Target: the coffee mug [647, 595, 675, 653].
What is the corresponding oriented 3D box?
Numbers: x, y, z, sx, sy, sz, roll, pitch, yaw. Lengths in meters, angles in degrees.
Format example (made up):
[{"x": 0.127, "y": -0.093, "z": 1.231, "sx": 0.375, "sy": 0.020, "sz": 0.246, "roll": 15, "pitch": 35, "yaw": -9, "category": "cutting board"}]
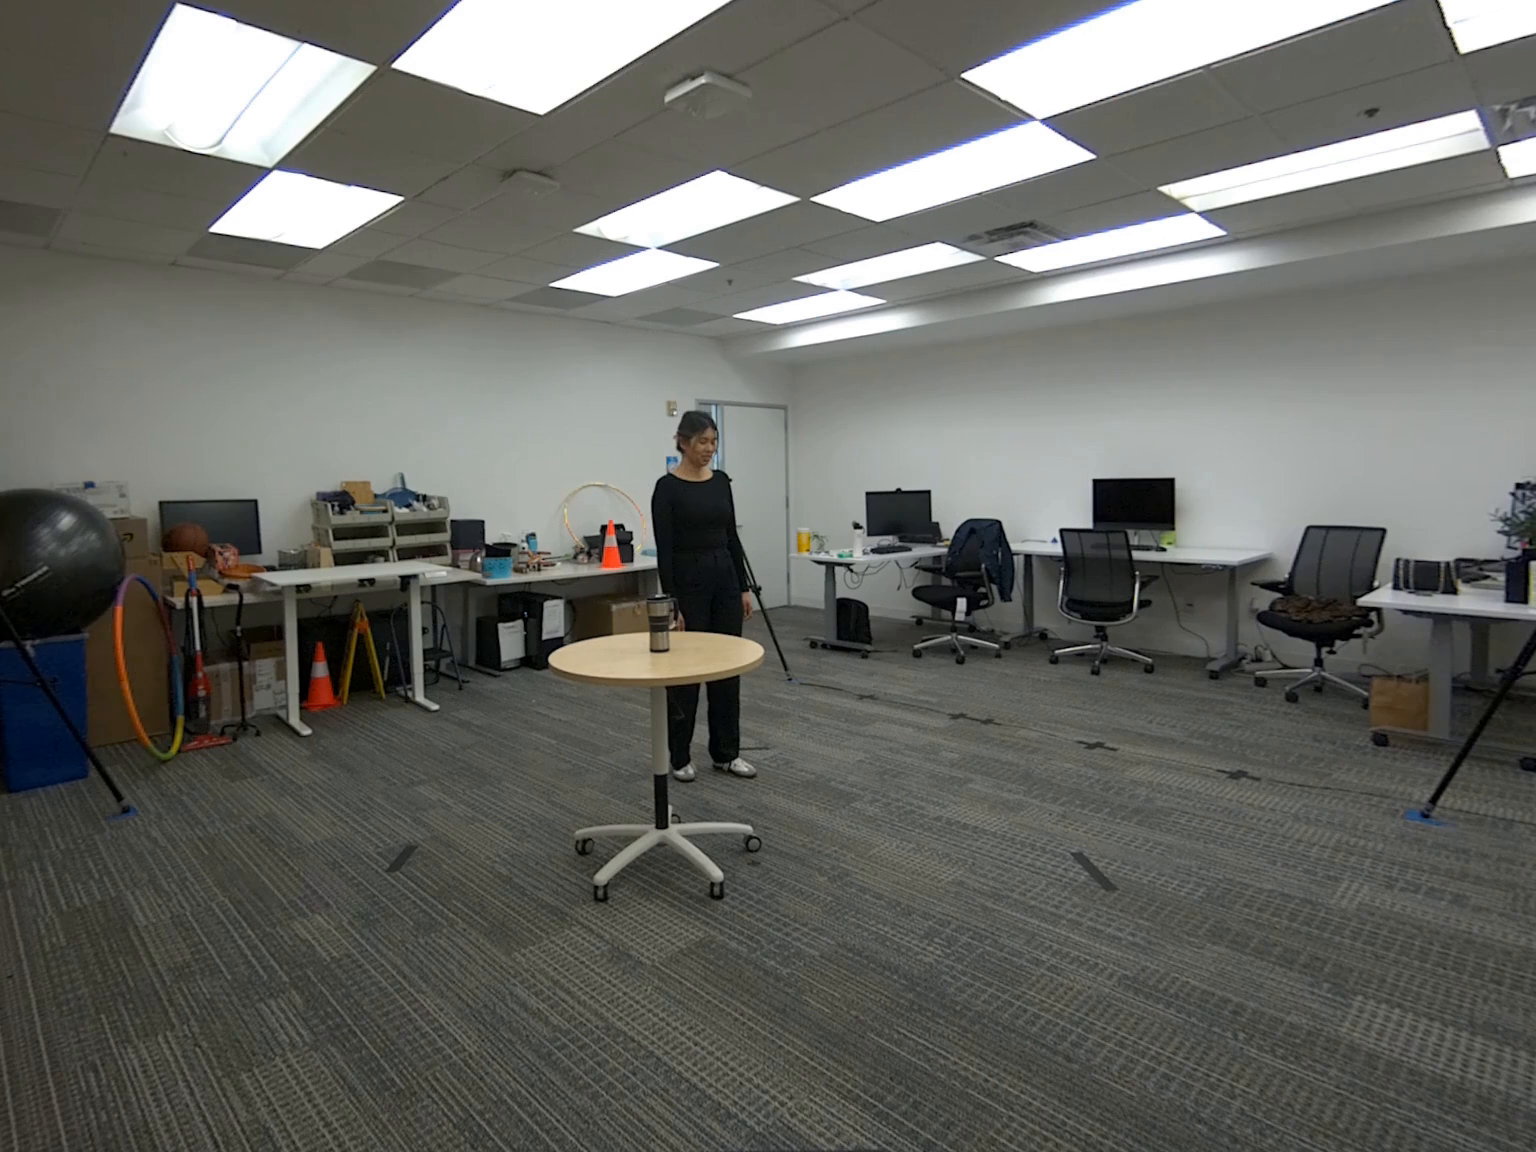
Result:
[{"x": -0.383, "y": 0.175, "z": 3.060, "sx": 0.085, "sy": 0.203, "sz": 0.125, "roll": -1, "pitch": 1, "yaw": -42, "category": "coffee mug"}]
